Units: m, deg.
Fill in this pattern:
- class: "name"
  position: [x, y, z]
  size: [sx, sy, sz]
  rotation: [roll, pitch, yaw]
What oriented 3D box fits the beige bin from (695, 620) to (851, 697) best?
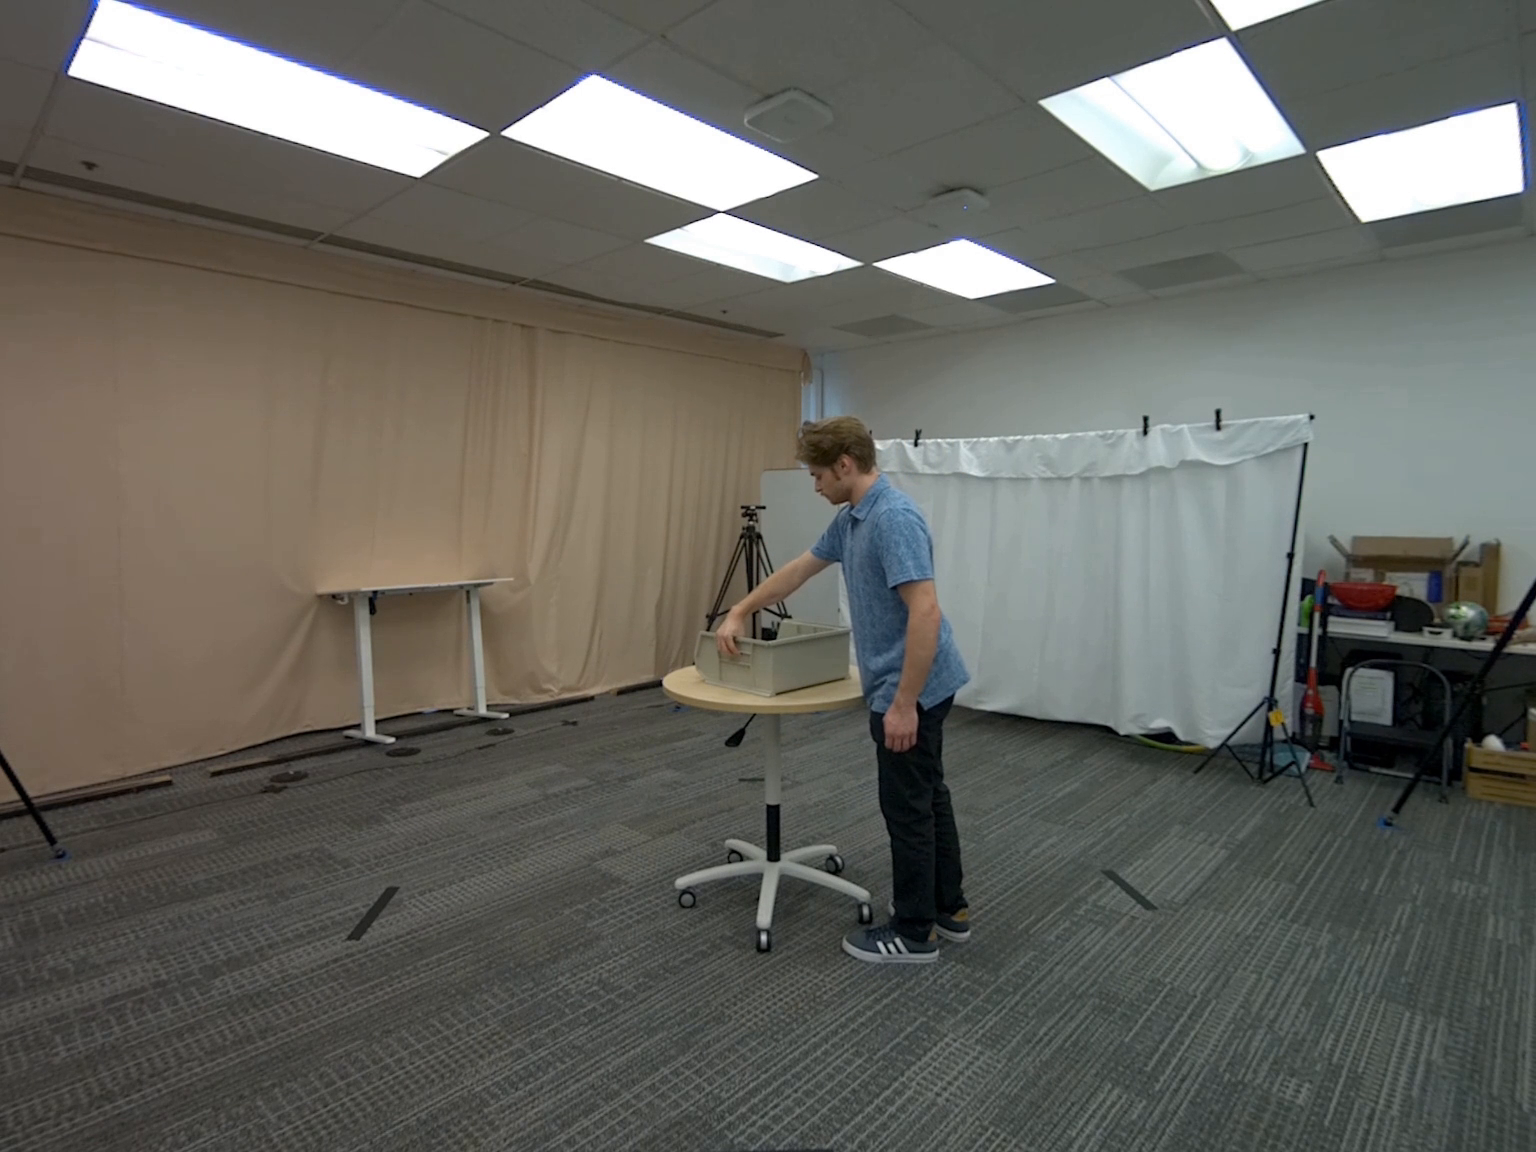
- class: "beige bin"
  position: [0.026, 0.274, 2.918]
  size: [0.409, 0.188, 0.390]
  rotation: [-4, 7, -42]
